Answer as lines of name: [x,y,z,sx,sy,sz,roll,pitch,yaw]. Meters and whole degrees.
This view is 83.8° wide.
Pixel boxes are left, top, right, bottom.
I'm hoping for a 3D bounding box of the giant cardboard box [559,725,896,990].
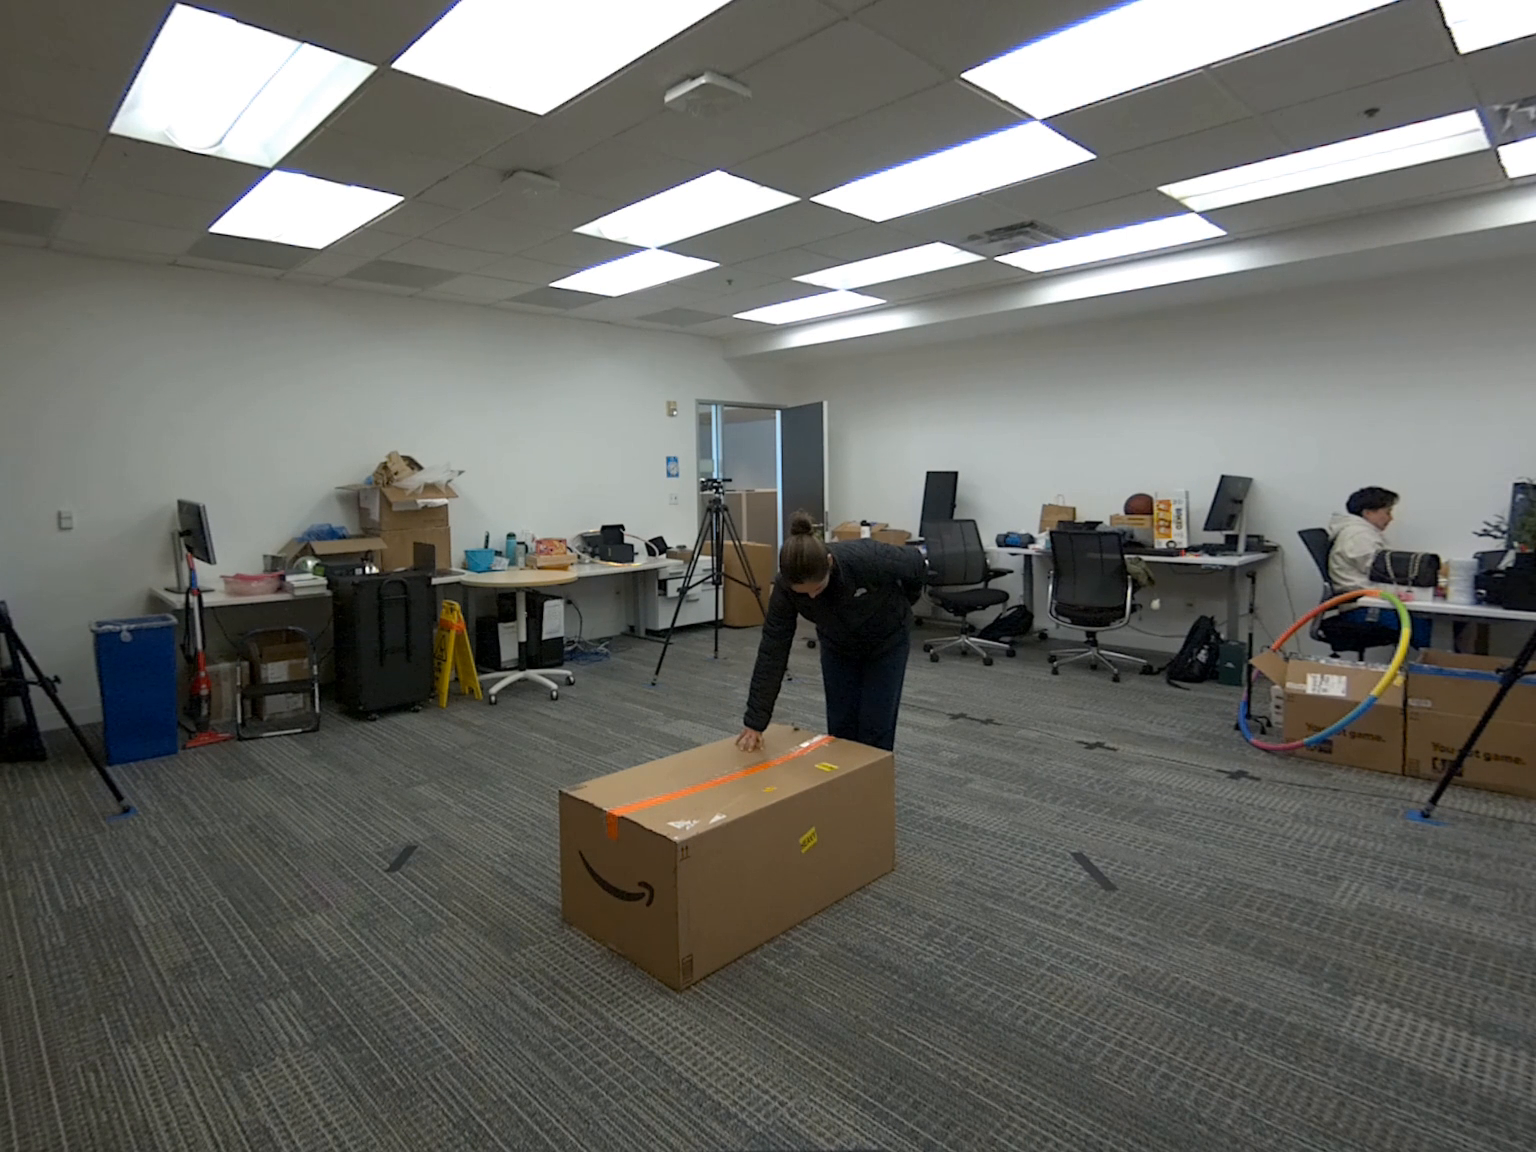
giant cardboard box: [-0.107,0.862,2.886,0.601,0.445,1.001,2,7,44]
